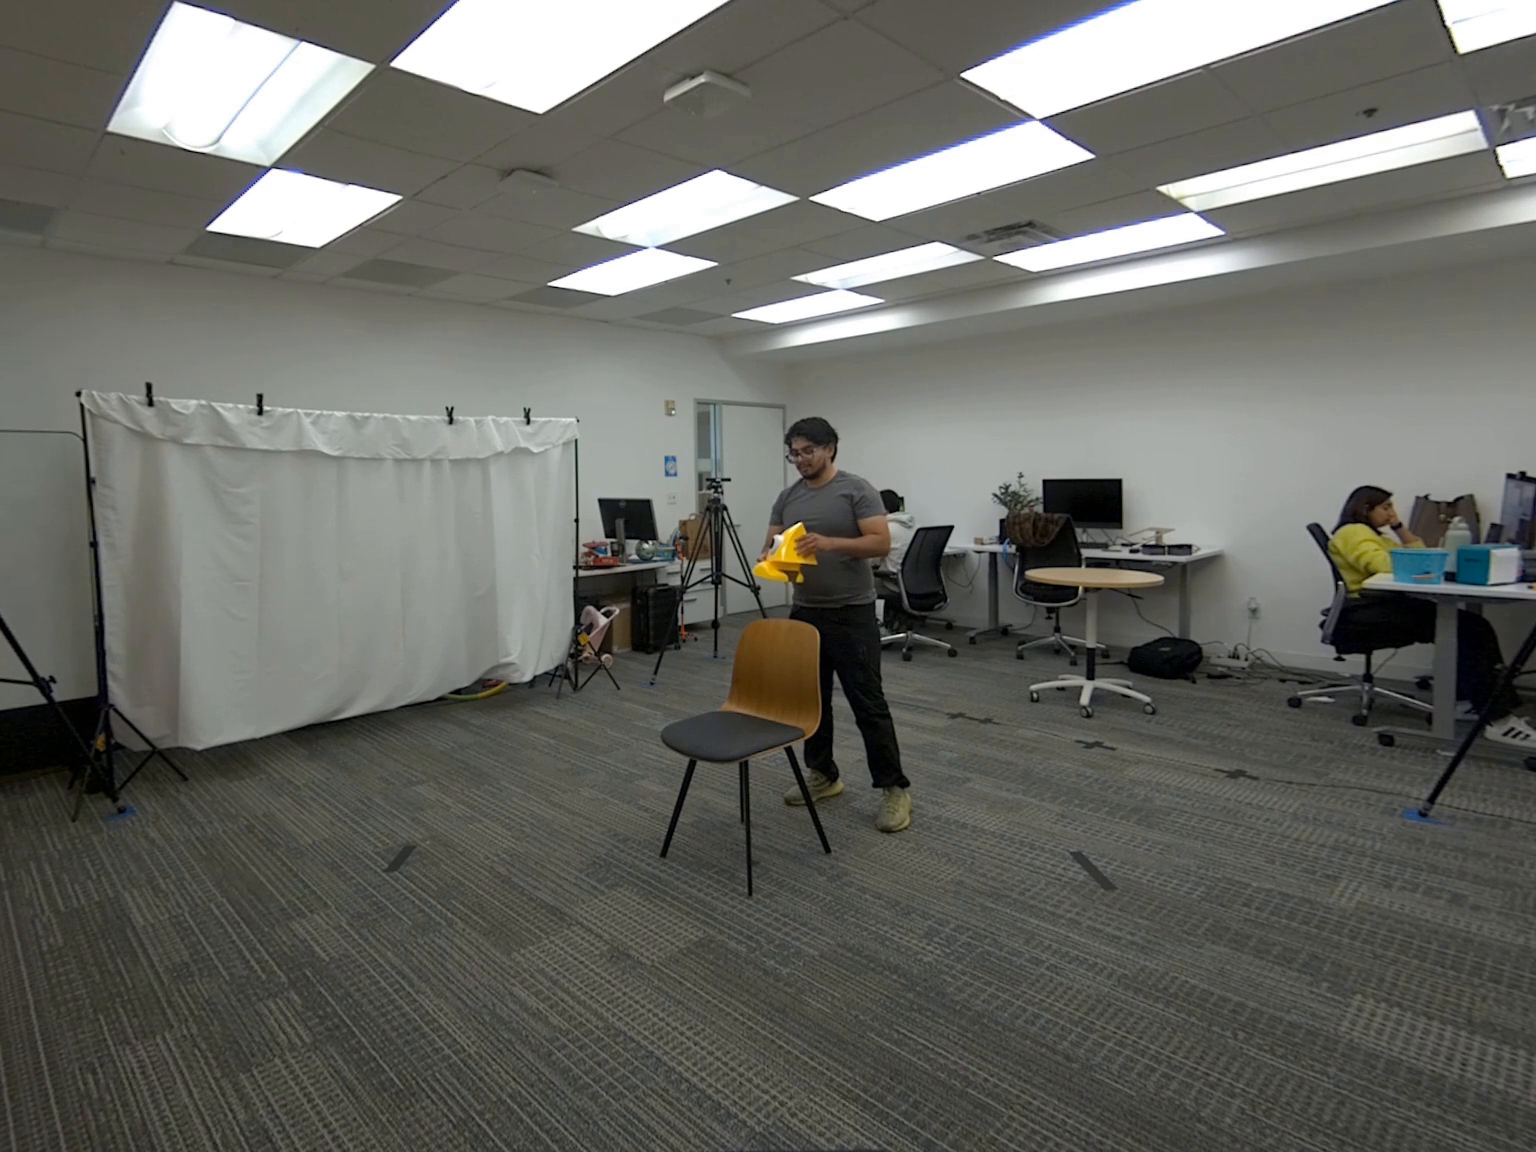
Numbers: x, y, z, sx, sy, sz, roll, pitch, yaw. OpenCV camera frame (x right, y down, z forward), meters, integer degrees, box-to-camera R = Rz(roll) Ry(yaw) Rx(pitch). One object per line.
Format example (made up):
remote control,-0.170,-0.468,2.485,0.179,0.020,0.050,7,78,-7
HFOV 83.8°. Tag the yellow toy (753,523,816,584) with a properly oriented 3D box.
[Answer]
yellow toy,0.065,-0.100,3.326,0.198,0.230,0.200,4,8,-45
